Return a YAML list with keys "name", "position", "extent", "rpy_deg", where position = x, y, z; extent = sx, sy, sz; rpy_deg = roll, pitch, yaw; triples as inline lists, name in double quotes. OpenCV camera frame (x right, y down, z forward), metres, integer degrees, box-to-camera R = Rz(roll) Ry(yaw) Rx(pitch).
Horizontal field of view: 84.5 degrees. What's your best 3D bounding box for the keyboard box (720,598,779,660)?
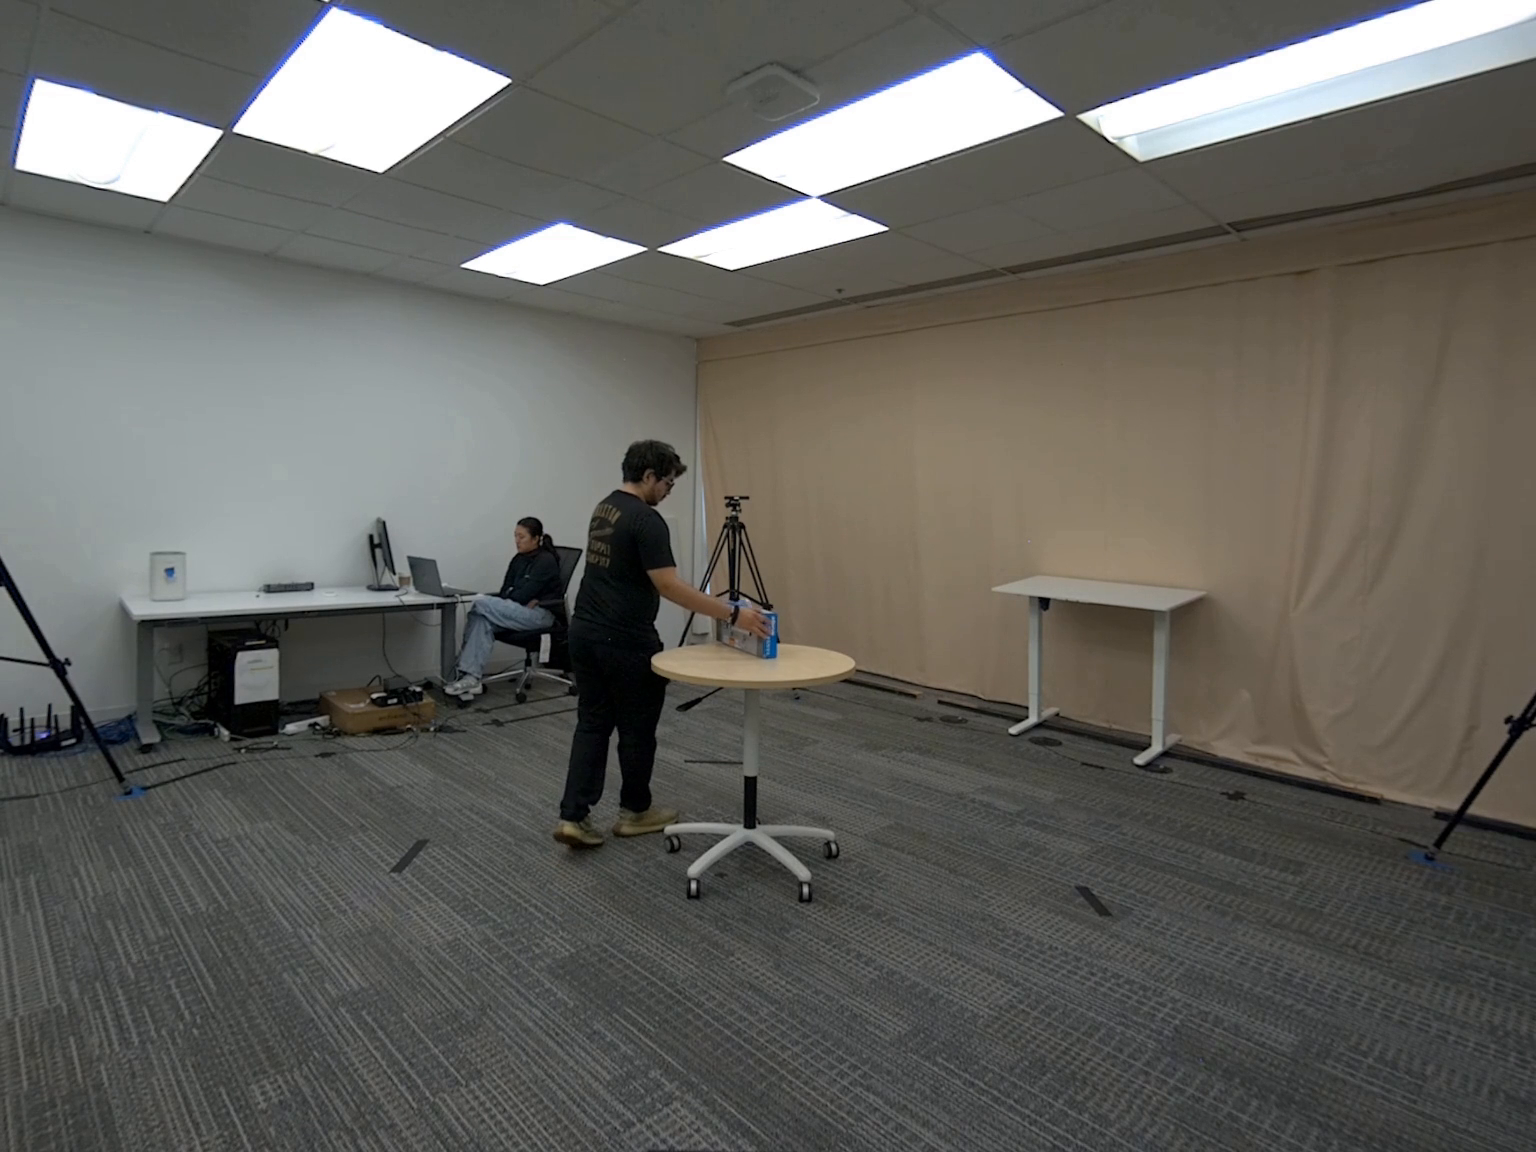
- name: "keyboard box"
  position: [-0.099, 0.211, 3.393]
  extent: [0.058, 0.175, 0.446]
  rpy_deg: [-2, 6, -27]
